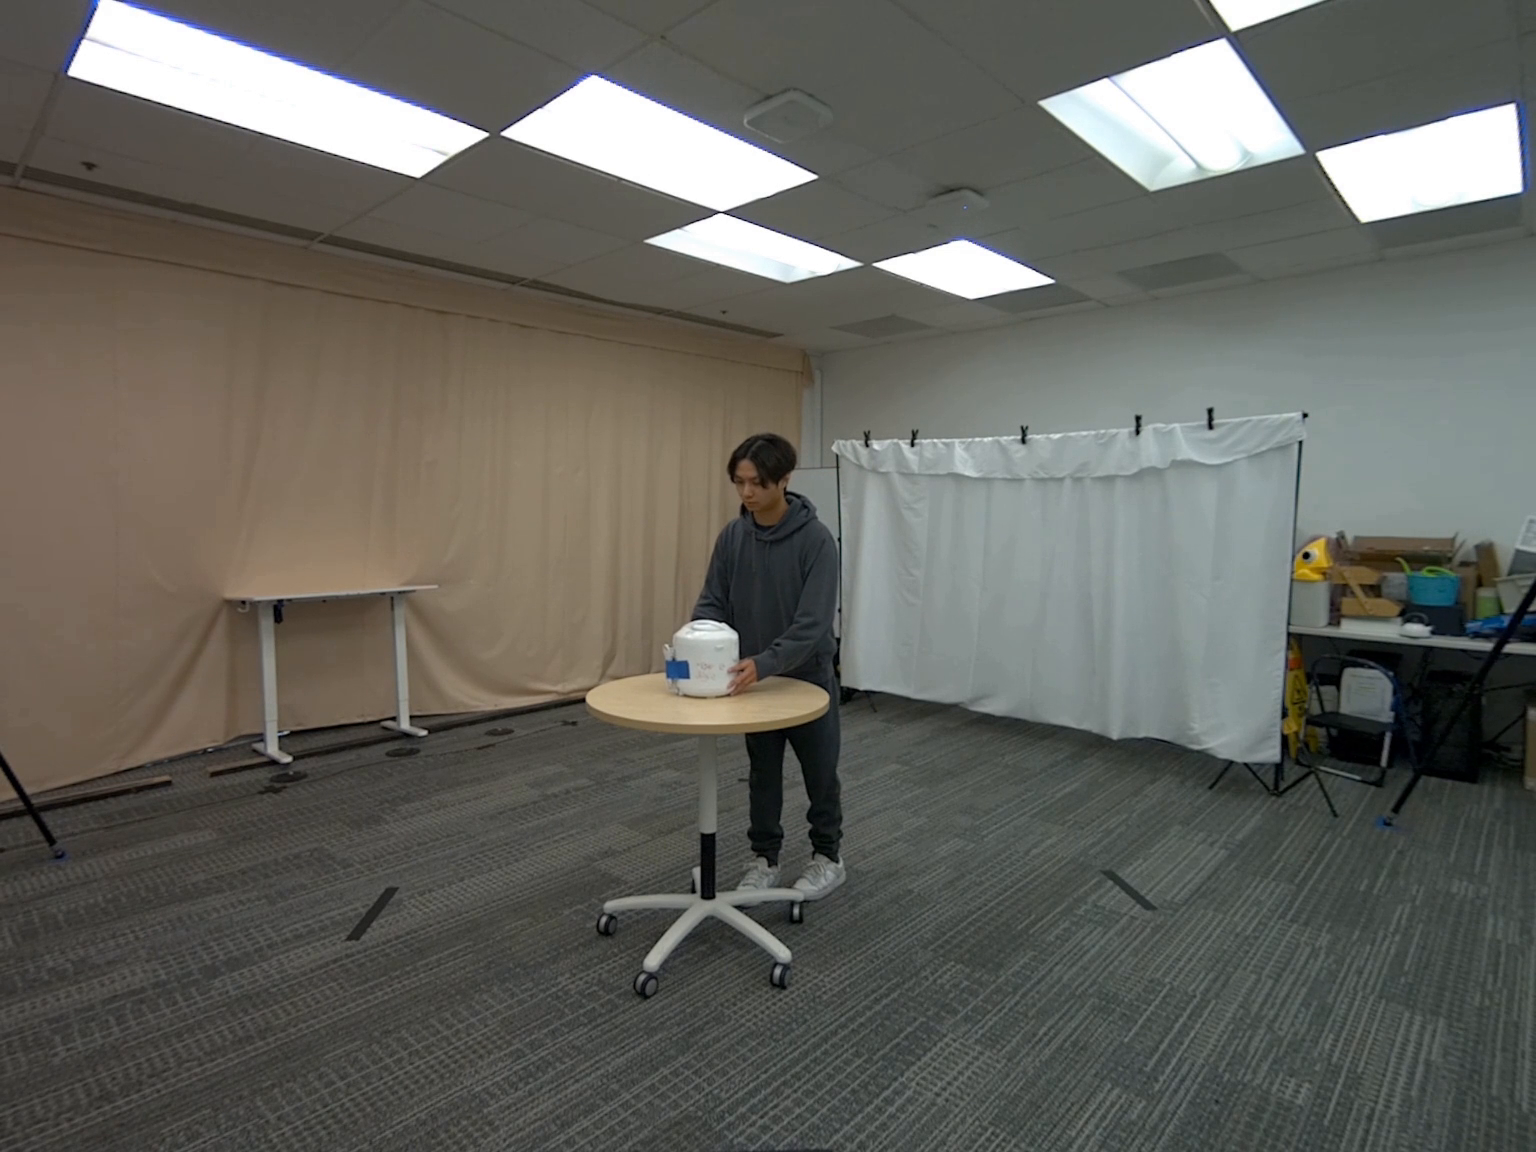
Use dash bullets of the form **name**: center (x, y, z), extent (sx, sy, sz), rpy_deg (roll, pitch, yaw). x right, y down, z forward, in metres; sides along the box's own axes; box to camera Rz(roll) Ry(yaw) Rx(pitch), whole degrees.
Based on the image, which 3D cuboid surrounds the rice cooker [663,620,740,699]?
- **rice cooker**: center (-0.201, 0.258, 2.690), extent (0.226, 0.232, 0.212), rpy_deg (1, 4, 25)
